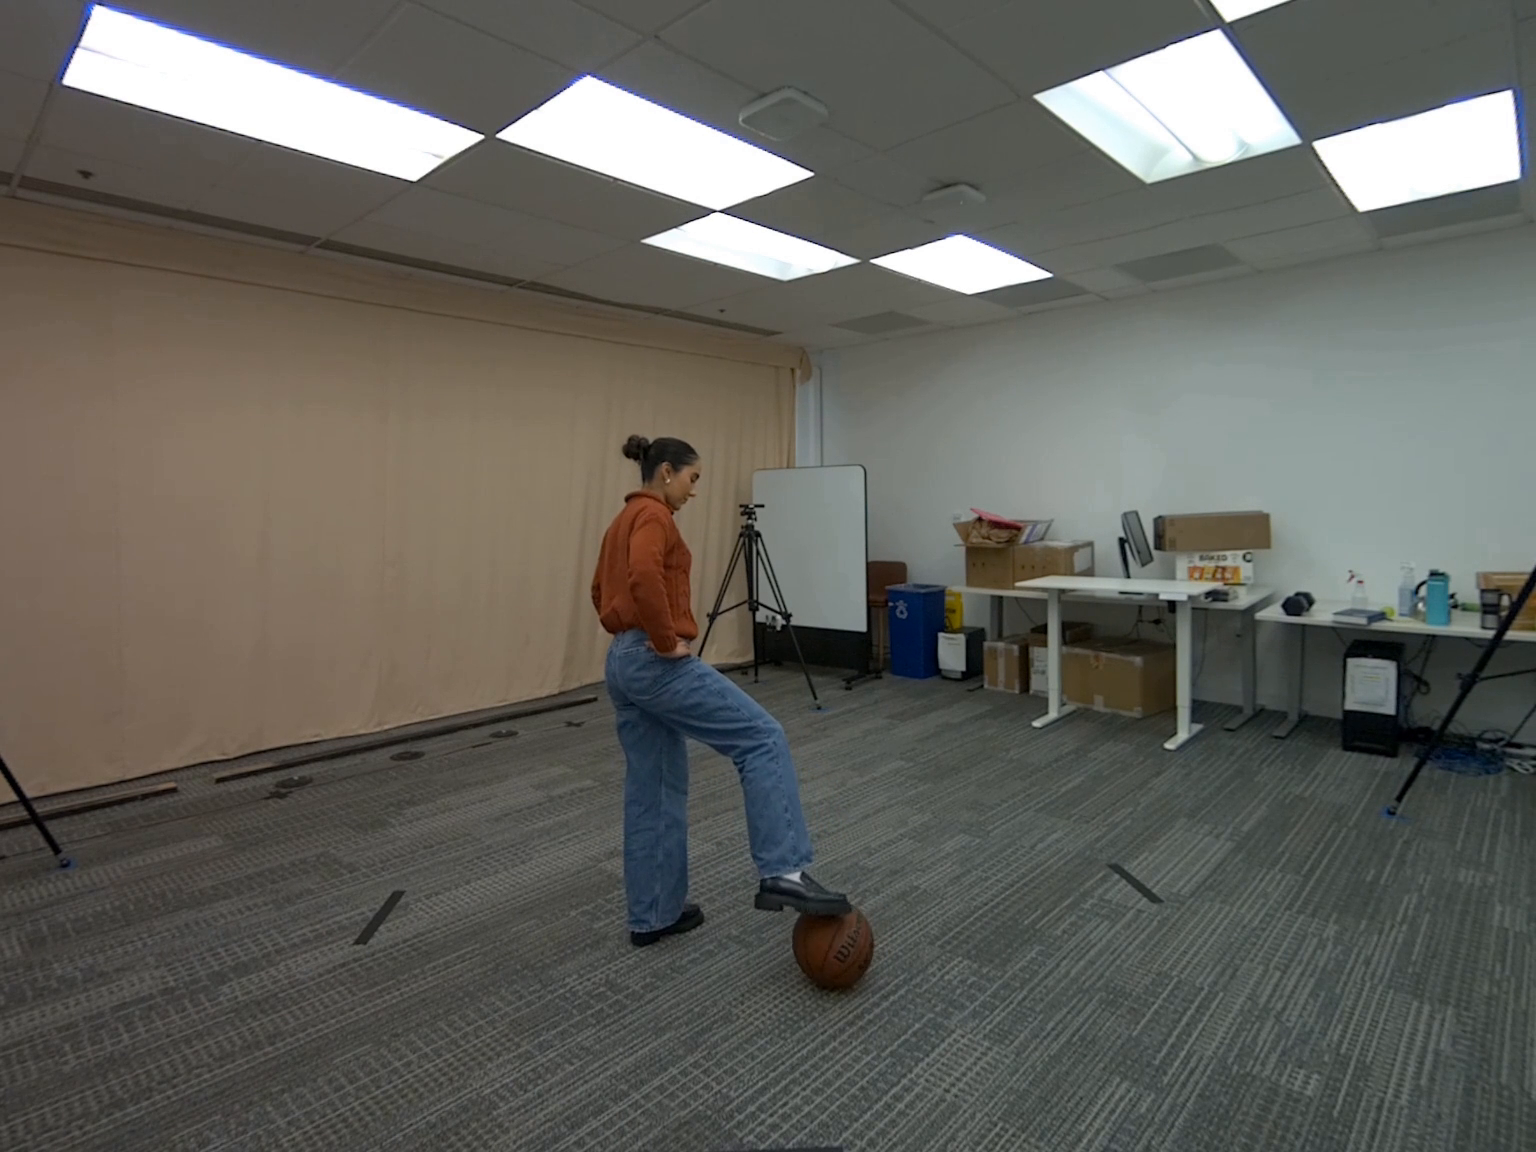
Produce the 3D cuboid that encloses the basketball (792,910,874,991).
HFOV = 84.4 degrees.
[{"bbox_3d":[0.194,1.062,2.452,0.236,0.235,0.237,-1,4,-2],"label":"basketball"}]
